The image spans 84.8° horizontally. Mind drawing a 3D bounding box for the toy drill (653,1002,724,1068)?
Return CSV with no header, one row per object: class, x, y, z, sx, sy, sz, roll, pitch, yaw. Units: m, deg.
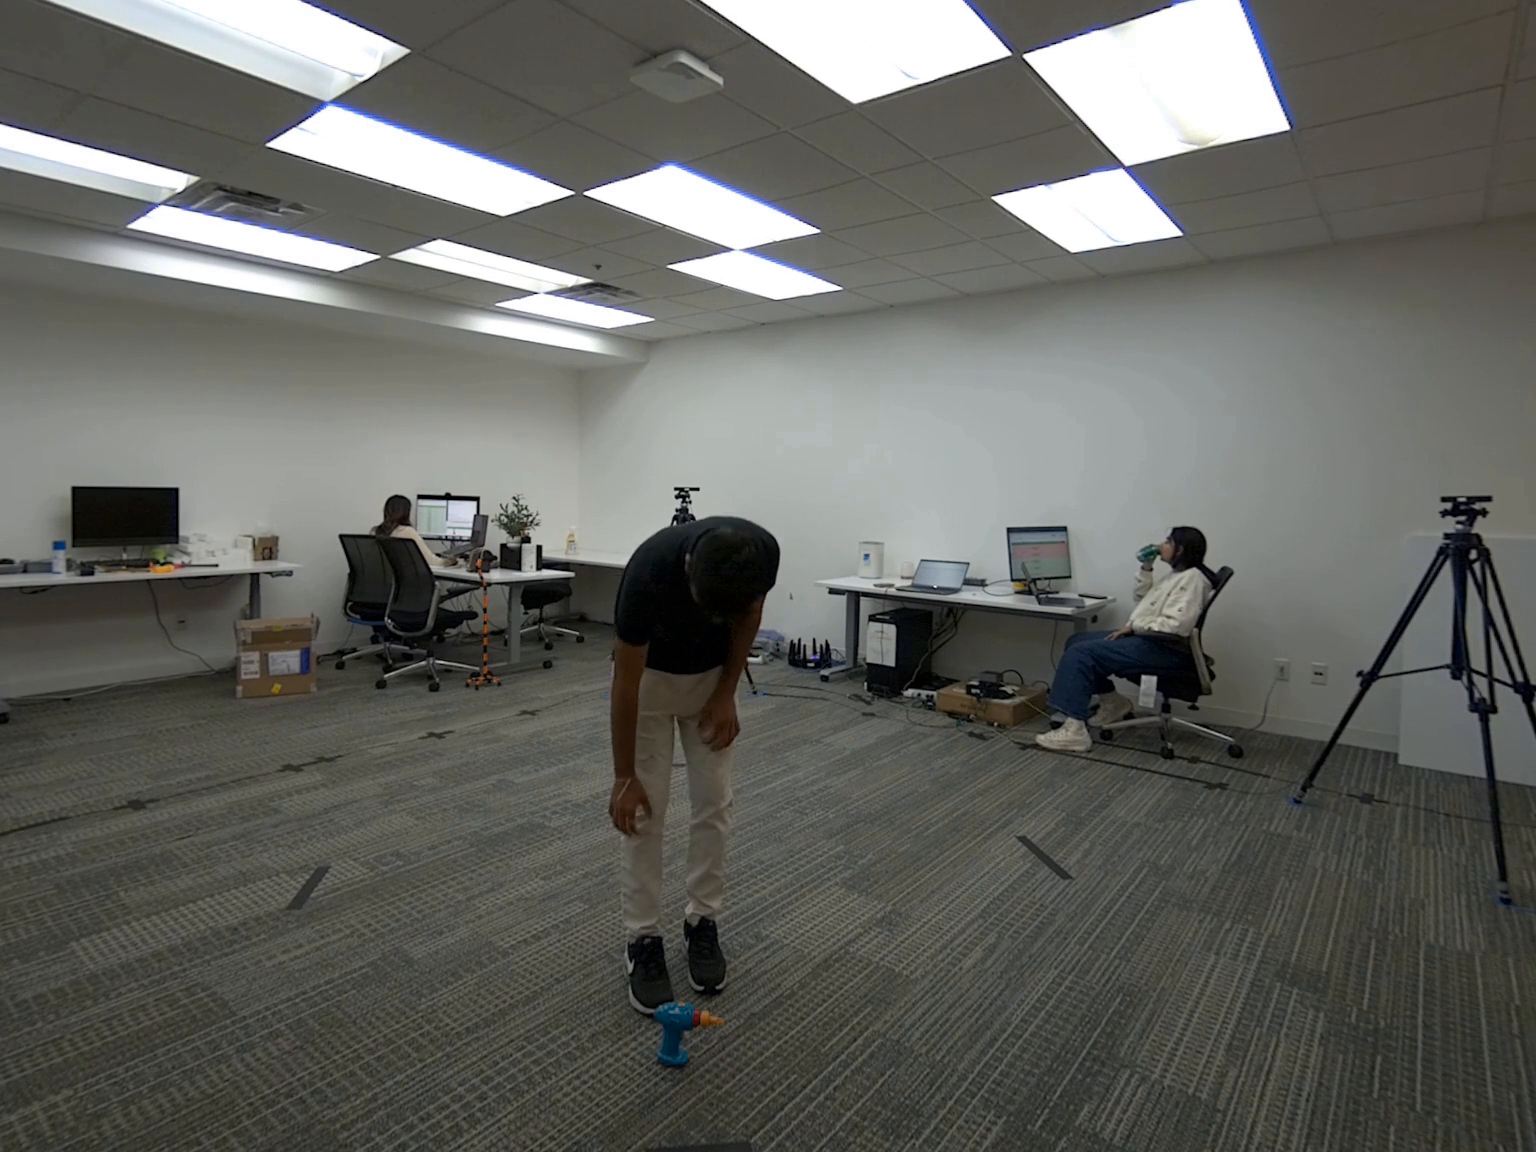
toy drill,-0.196,1.105,2.045,0.171,0.146,0.061,1,2,6
